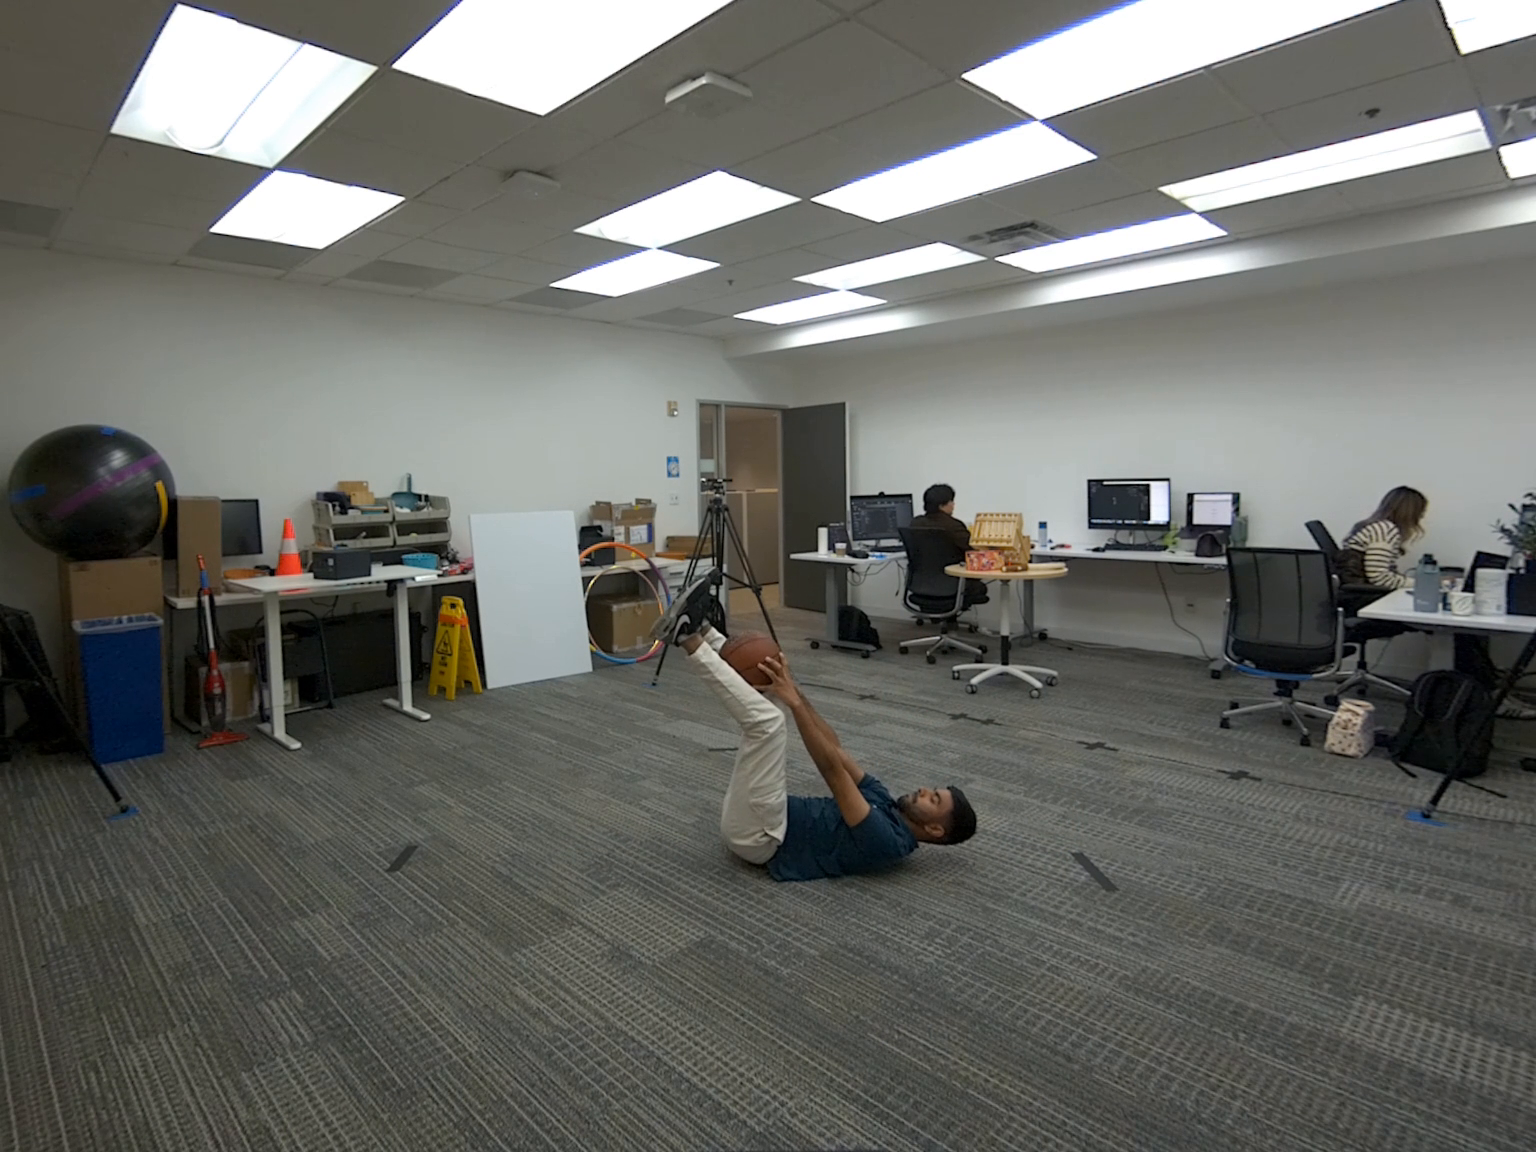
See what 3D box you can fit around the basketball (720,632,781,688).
[{"bbox_3d":[-0.067,0.309,3.122,0.236,0.235,0.237,-1,5,-2],"label":"basketball"}]
